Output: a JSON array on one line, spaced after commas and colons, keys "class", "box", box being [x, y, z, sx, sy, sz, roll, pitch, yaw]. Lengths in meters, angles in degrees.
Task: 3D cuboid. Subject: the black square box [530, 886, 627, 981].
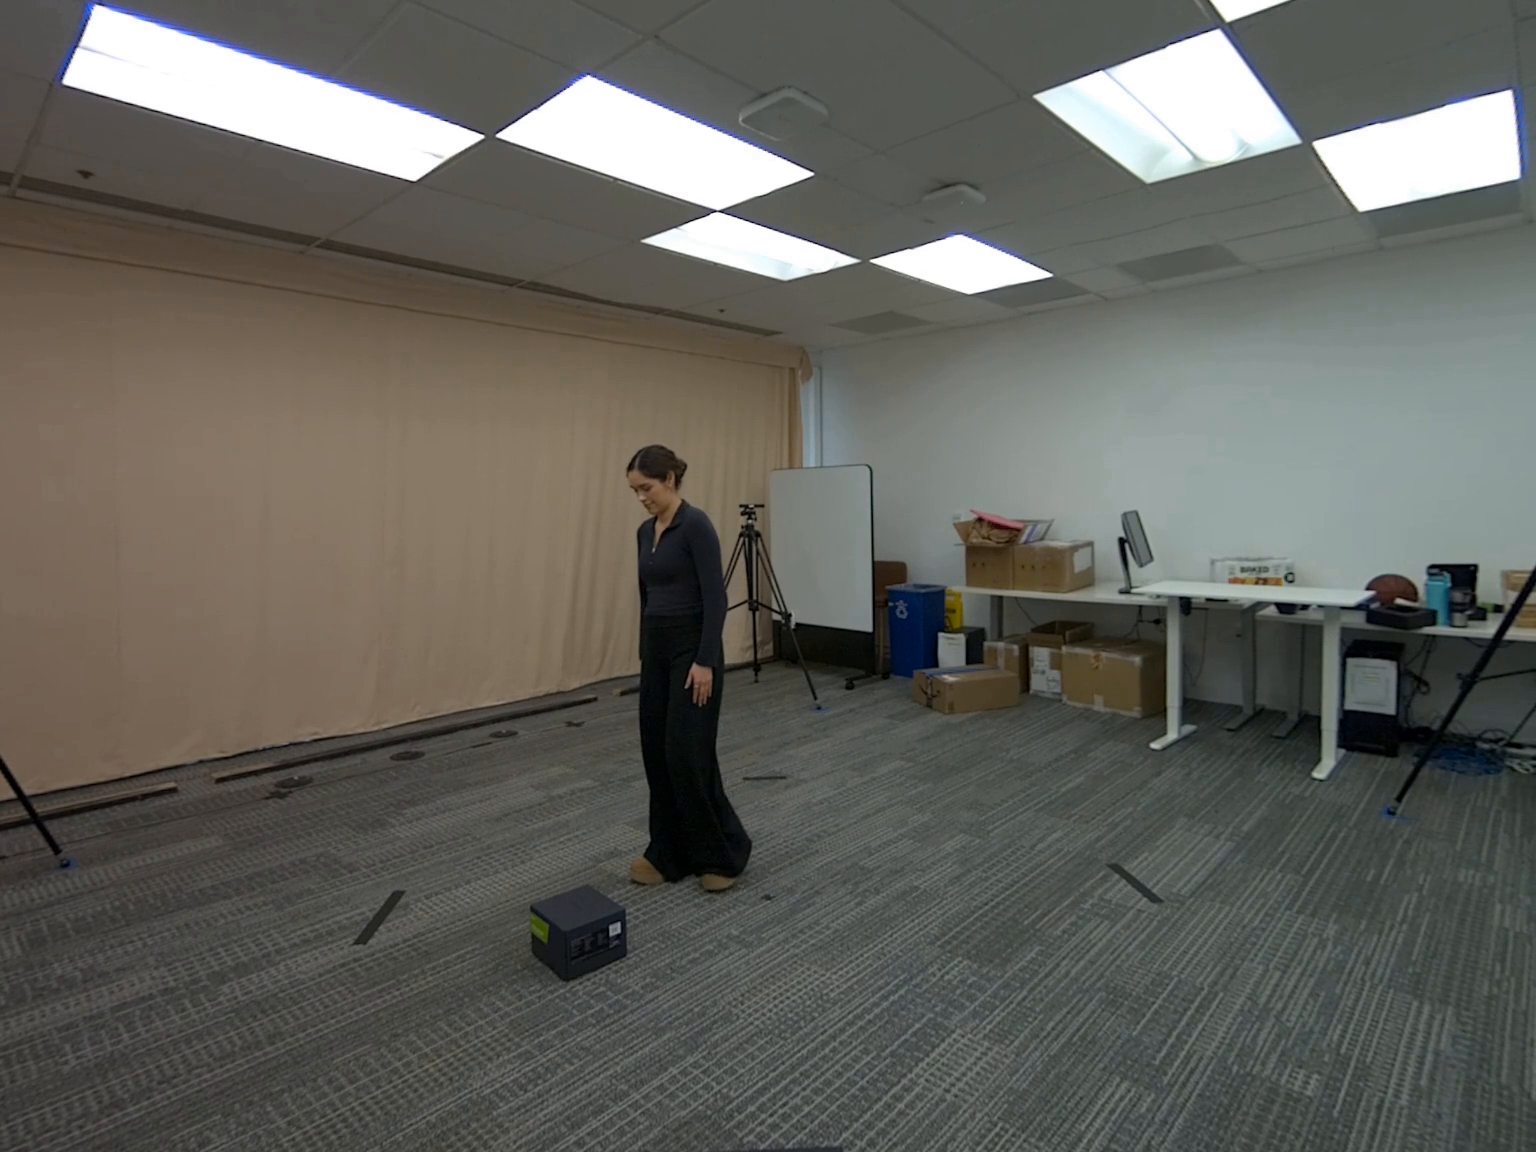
[{"class": "black square box", "box": [-0.591, 1.101, 2.619, 0.210, 0.155, 0.235, -6, 6, -41]}]
